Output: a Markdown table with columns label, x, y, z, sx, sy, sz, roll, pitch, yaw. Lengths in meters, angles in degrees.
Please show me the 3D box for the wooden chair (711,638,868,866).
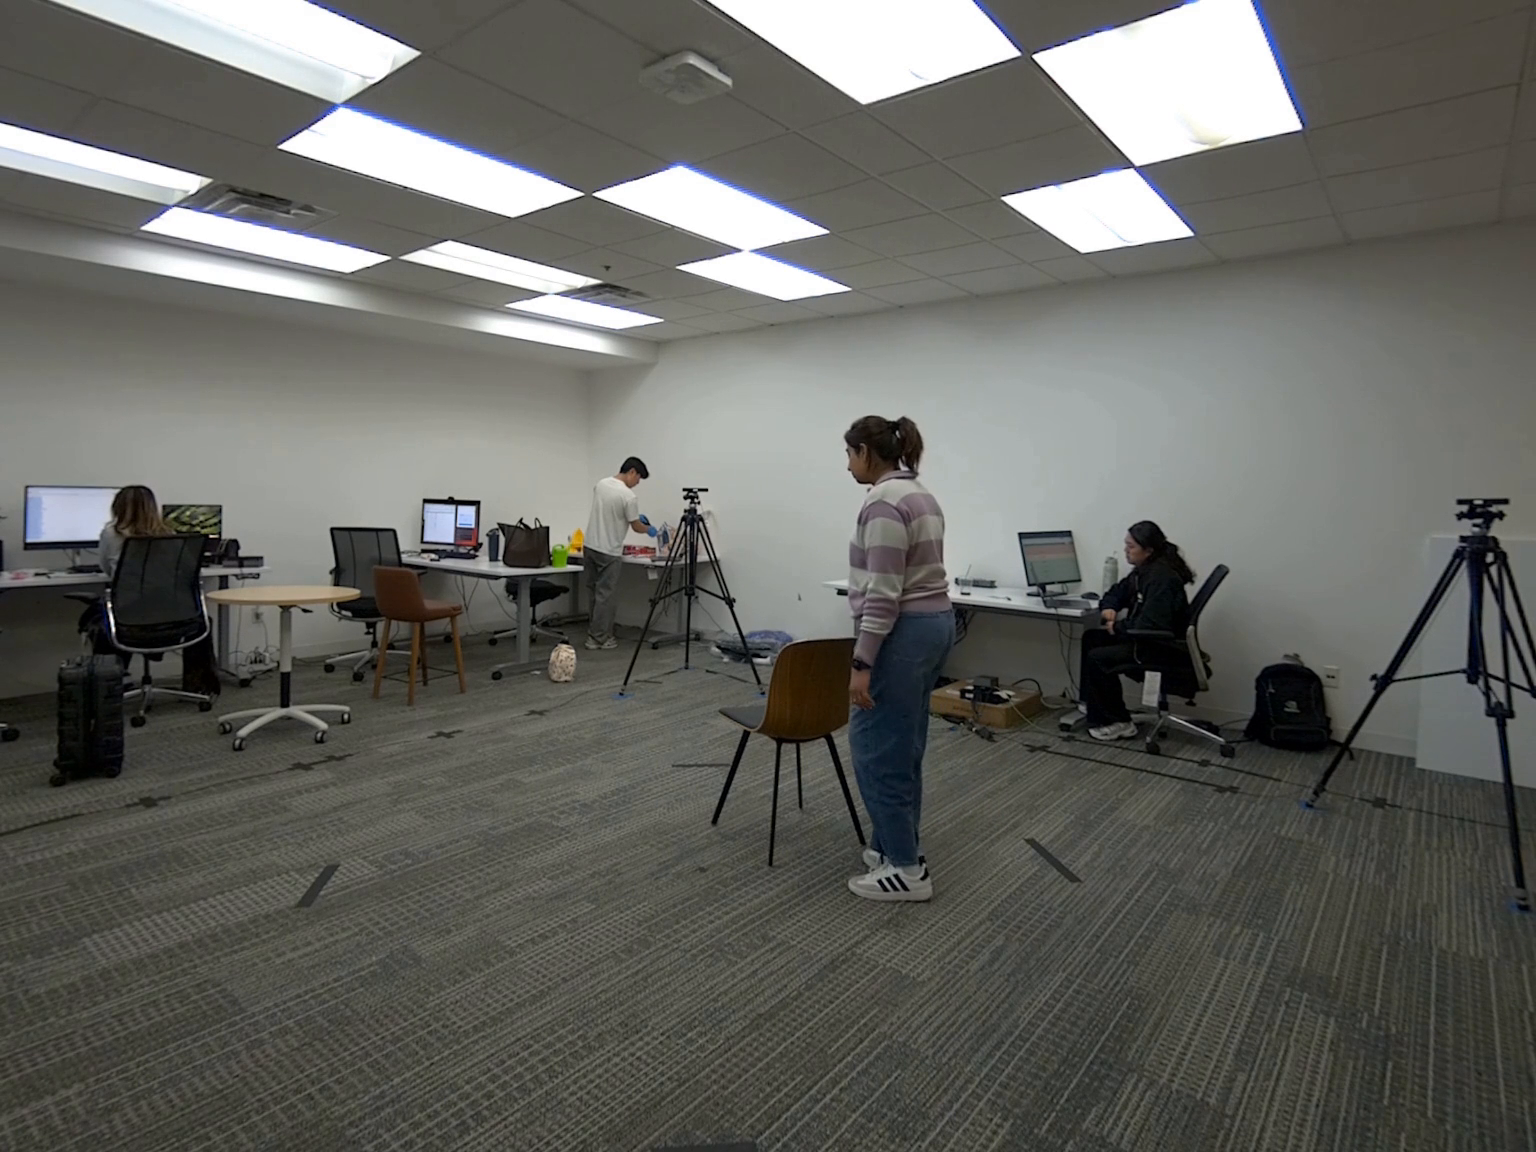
| label | x | y | z | sx | sy | sz | roll | pitch | yaw |
| --- | --- | --- | --- | --- | --- | --- | --- | --- | --- |
| wooden chair | 0.068 | 0.618 | 3.425 | 0.465 | 0.872 | 0.541 | -1 | 8 | -31 |
